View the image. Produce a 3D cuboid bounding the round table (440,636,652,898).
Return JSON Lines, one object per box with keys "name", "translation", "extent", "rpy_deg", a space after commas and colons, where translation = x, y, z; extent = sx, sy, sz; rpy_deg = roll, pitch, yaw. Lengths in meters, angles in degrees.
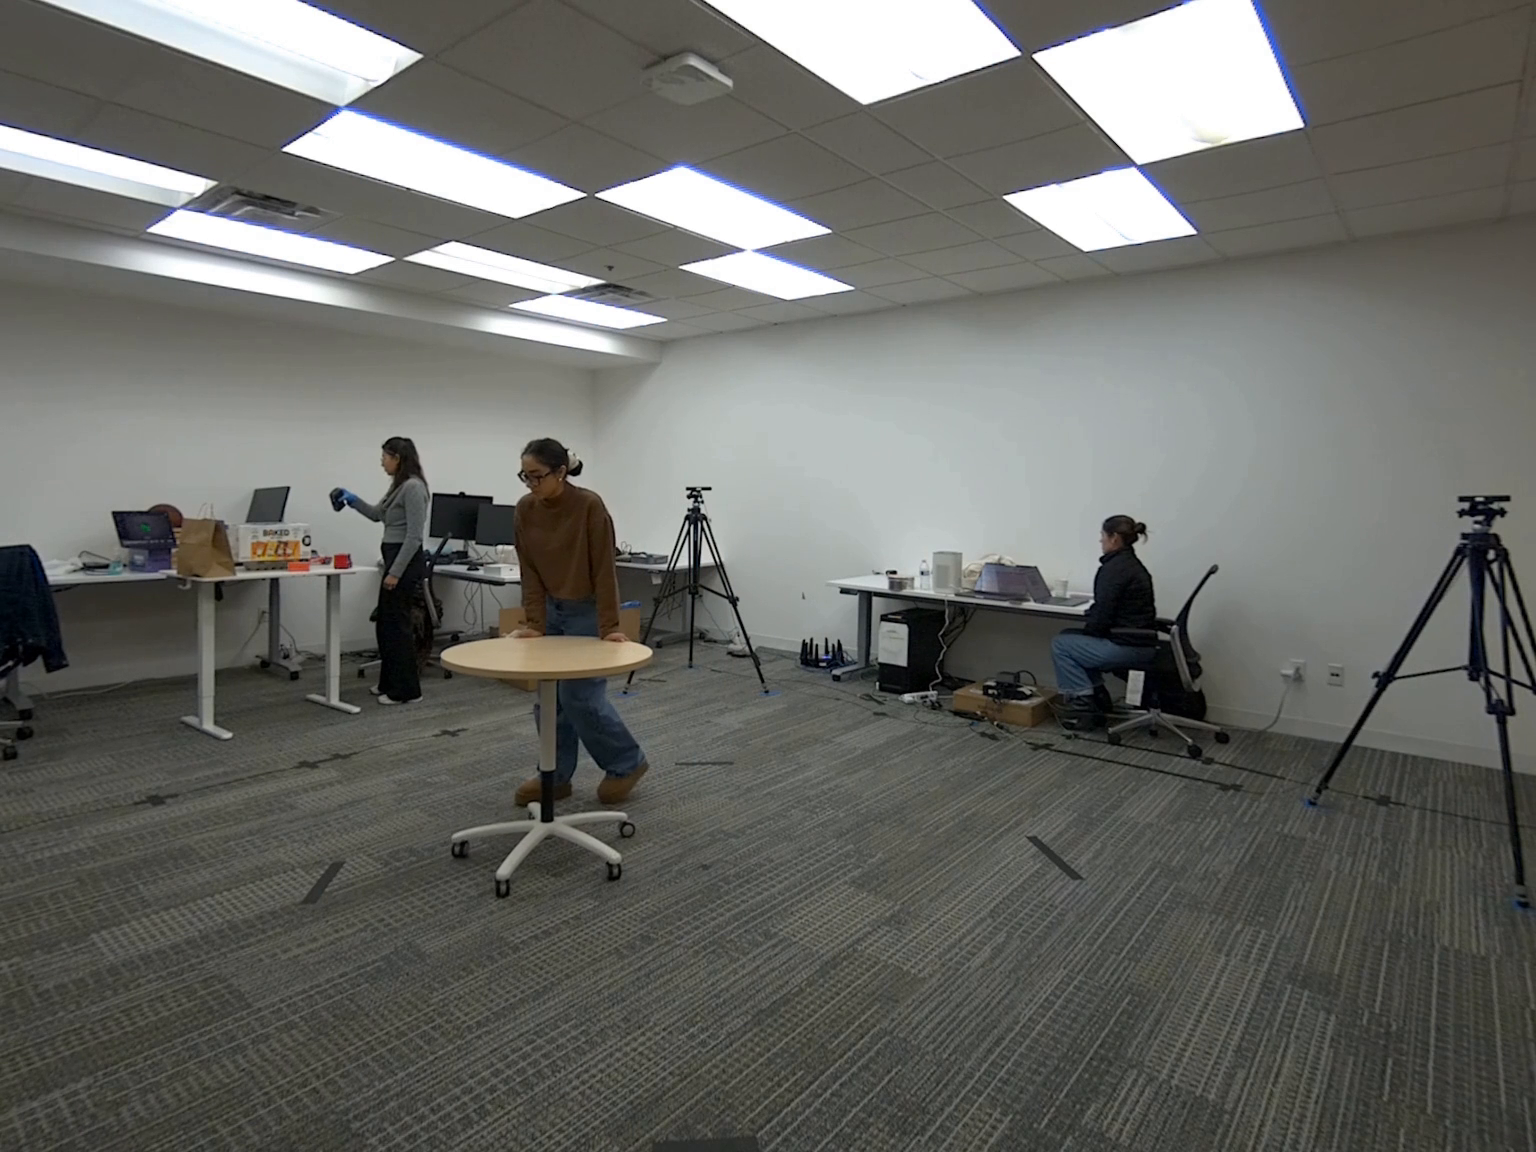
{"name": "round table", "translation": [-0.832, 0.666, 3.171], "extent": [0.763, 0.792, 0.767], "rpy_deg": [1, 3, -2]}
